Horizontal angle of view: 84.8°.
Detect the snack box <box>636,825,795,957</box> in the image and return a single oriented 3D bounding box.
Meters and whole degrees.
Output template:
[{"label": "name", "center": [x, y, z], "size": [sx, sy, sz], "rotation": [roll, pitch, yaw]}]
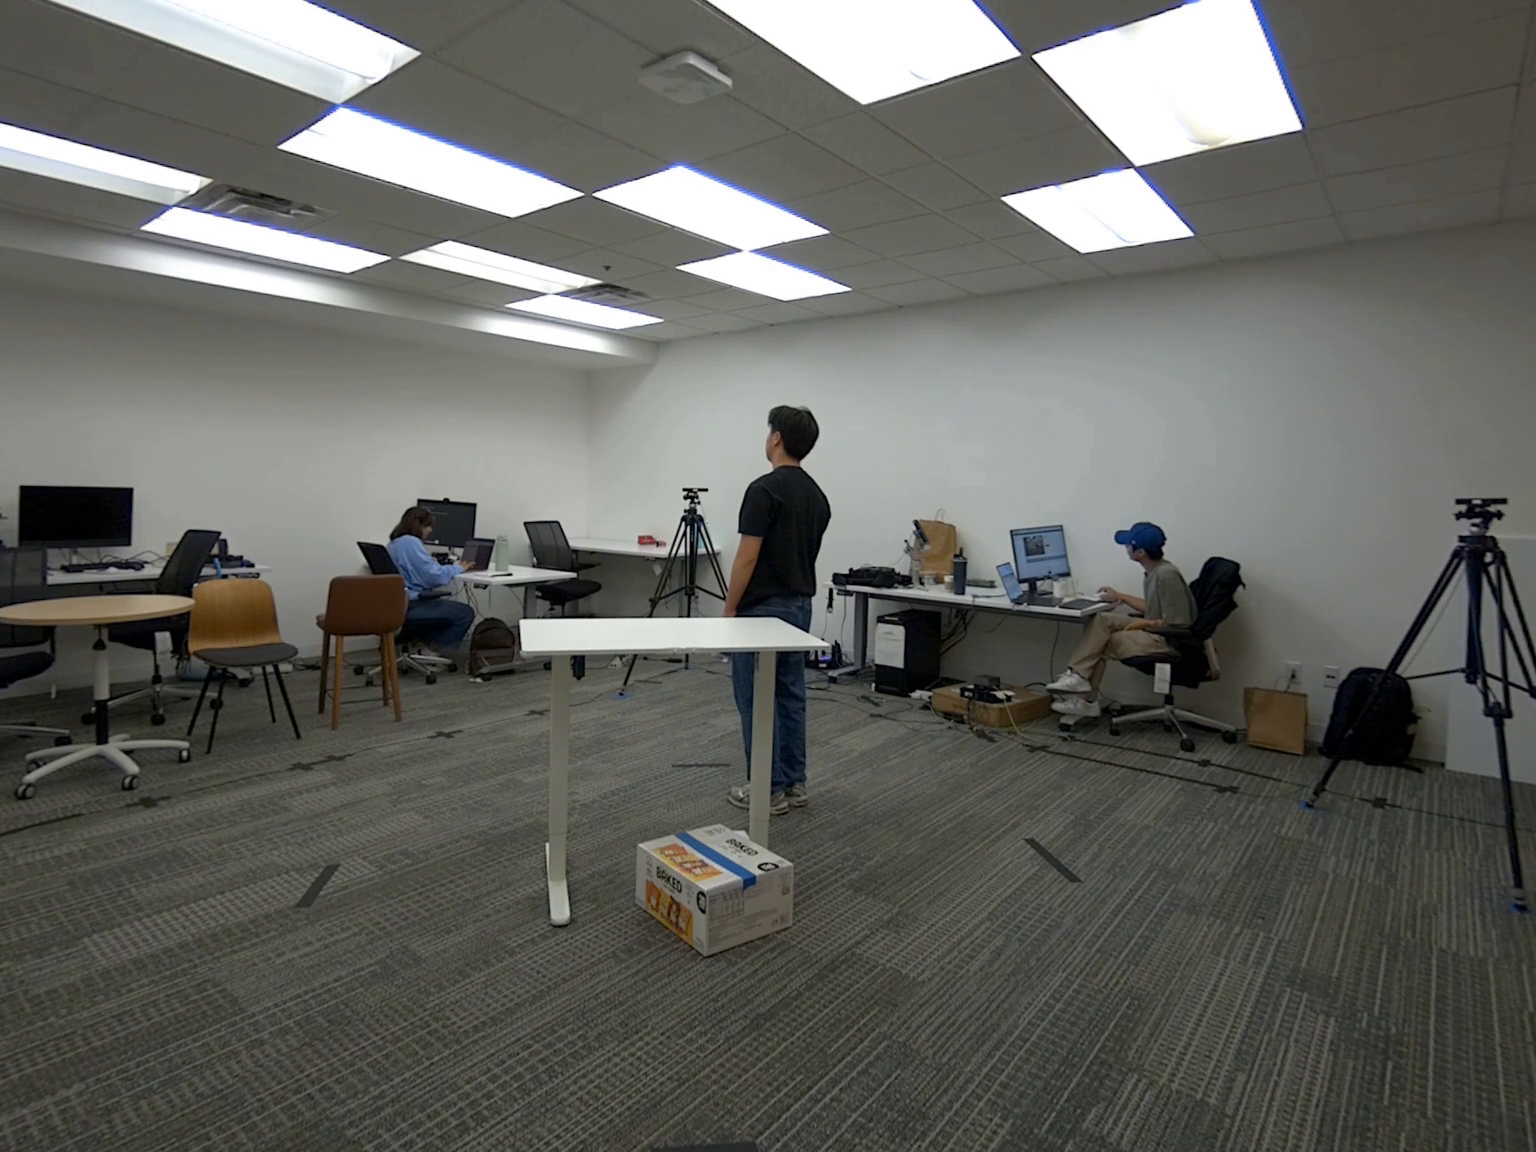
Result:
[{"label": "snack box", "center": [-0.186, 1.002, 2.762], "size": [0.330, 0.205, 0.419], "rotation": [-2, 6, -37]}]
